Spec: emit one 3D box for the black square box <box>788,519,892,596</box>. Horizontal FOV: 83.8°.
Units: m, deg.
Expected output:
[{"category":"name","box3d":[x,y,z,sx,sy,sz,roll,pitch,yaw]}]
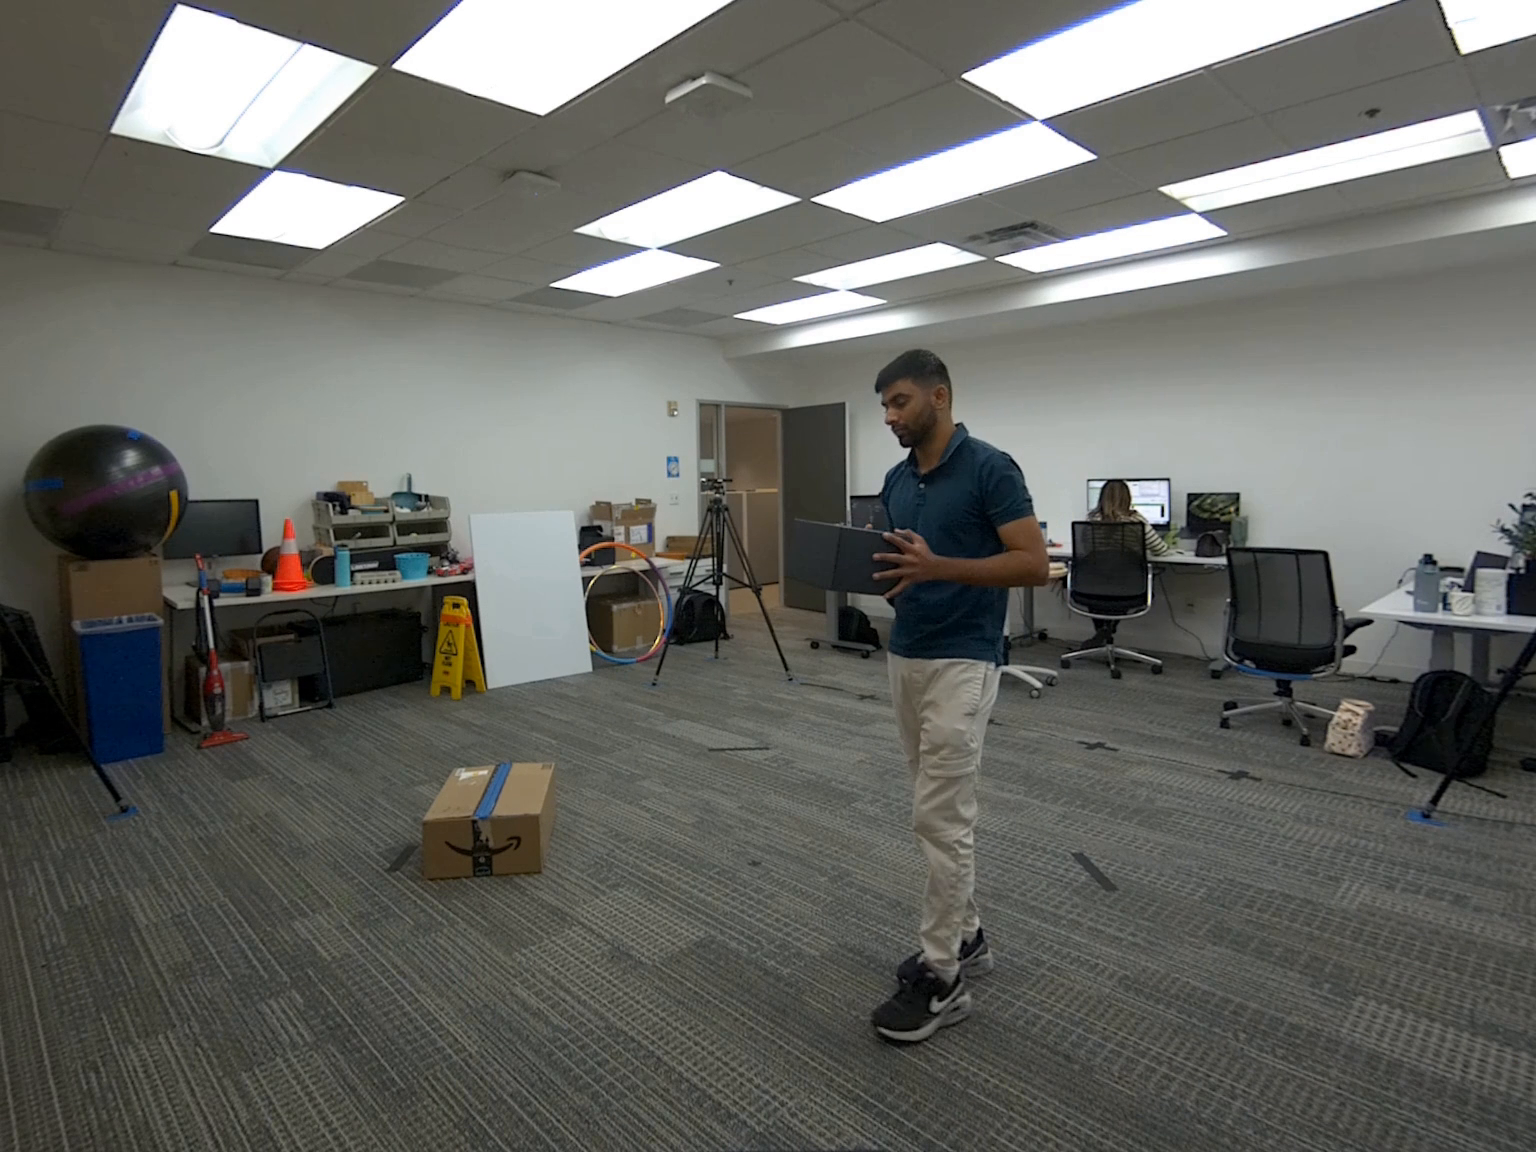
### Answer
[{"category":"black square box","box3d":[0.188,-0.048,2.163,0.211,0.155,0.235,5,6,-30]}]
